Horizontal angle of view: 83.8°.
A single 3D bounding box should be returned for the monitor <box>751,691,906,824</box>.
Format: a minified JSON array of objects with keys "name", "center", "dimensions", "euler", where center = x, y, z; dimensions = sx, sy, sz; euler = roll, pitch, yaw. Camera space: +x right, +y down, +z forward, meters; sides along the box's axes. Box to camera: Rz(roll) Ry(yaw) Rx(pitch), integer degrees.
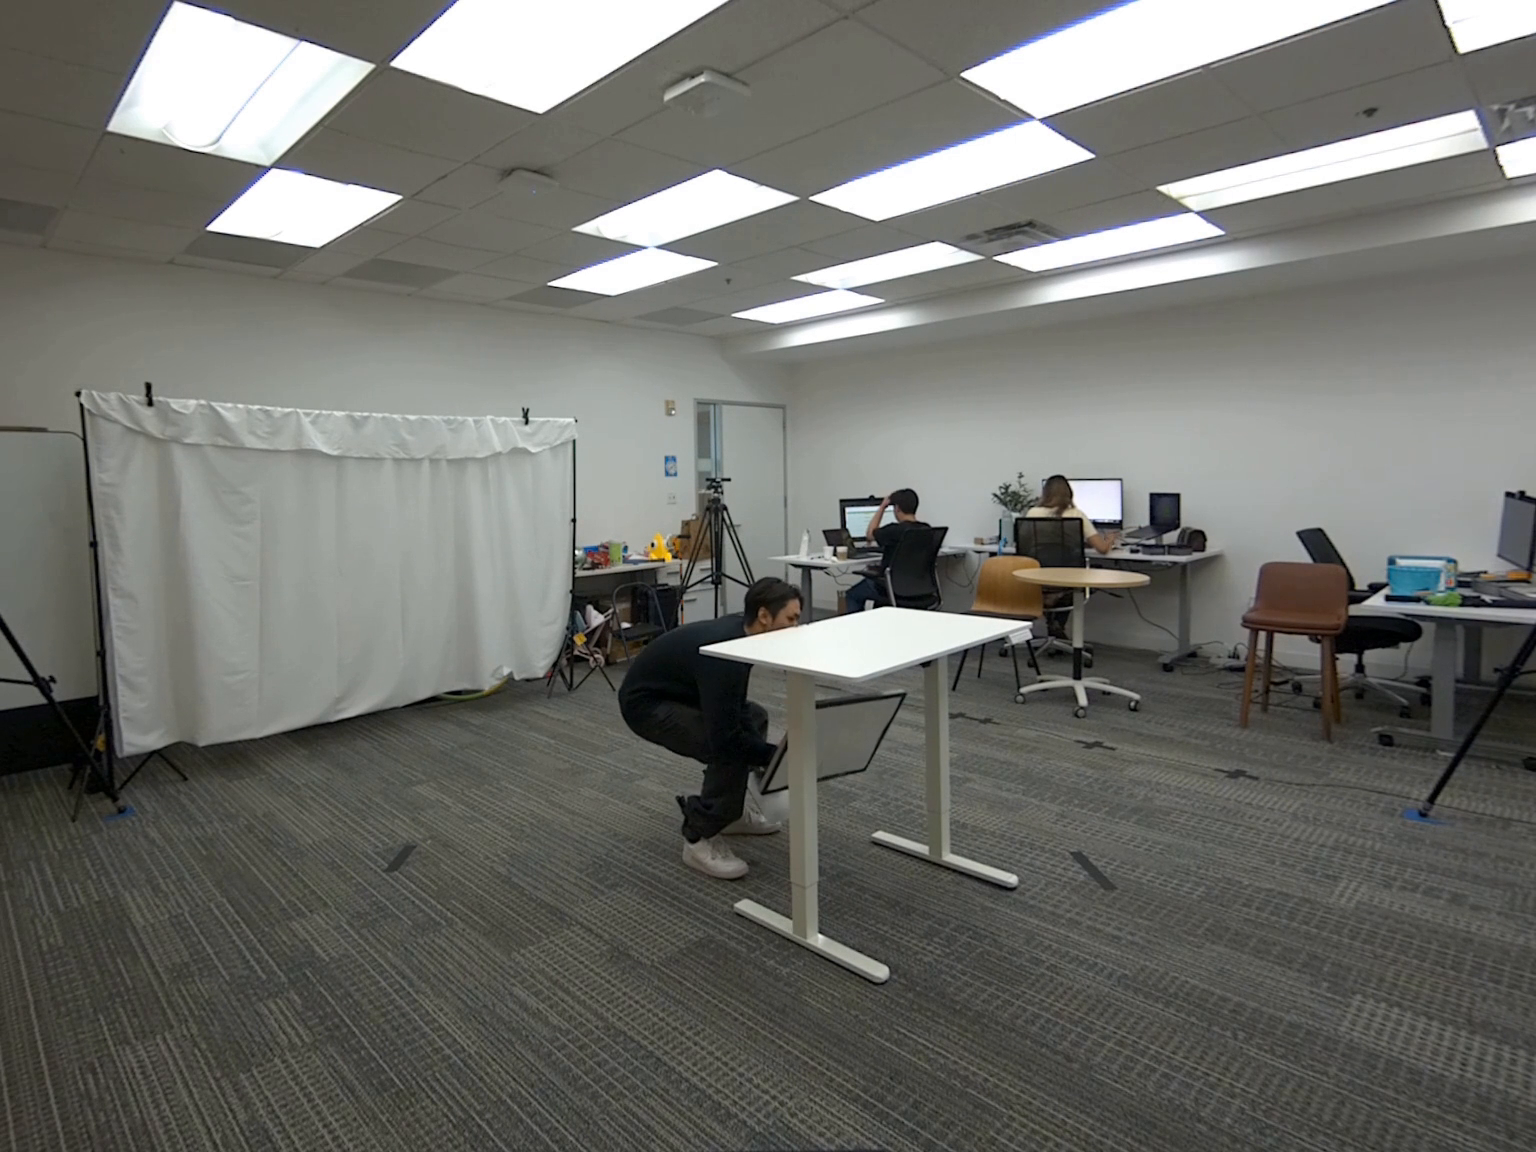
[{"name":"monitor","center":[0.167,0.595,2.997],"dimensions":[0.514,0.181,0.514],"euler":[3,-44,-43]}]
